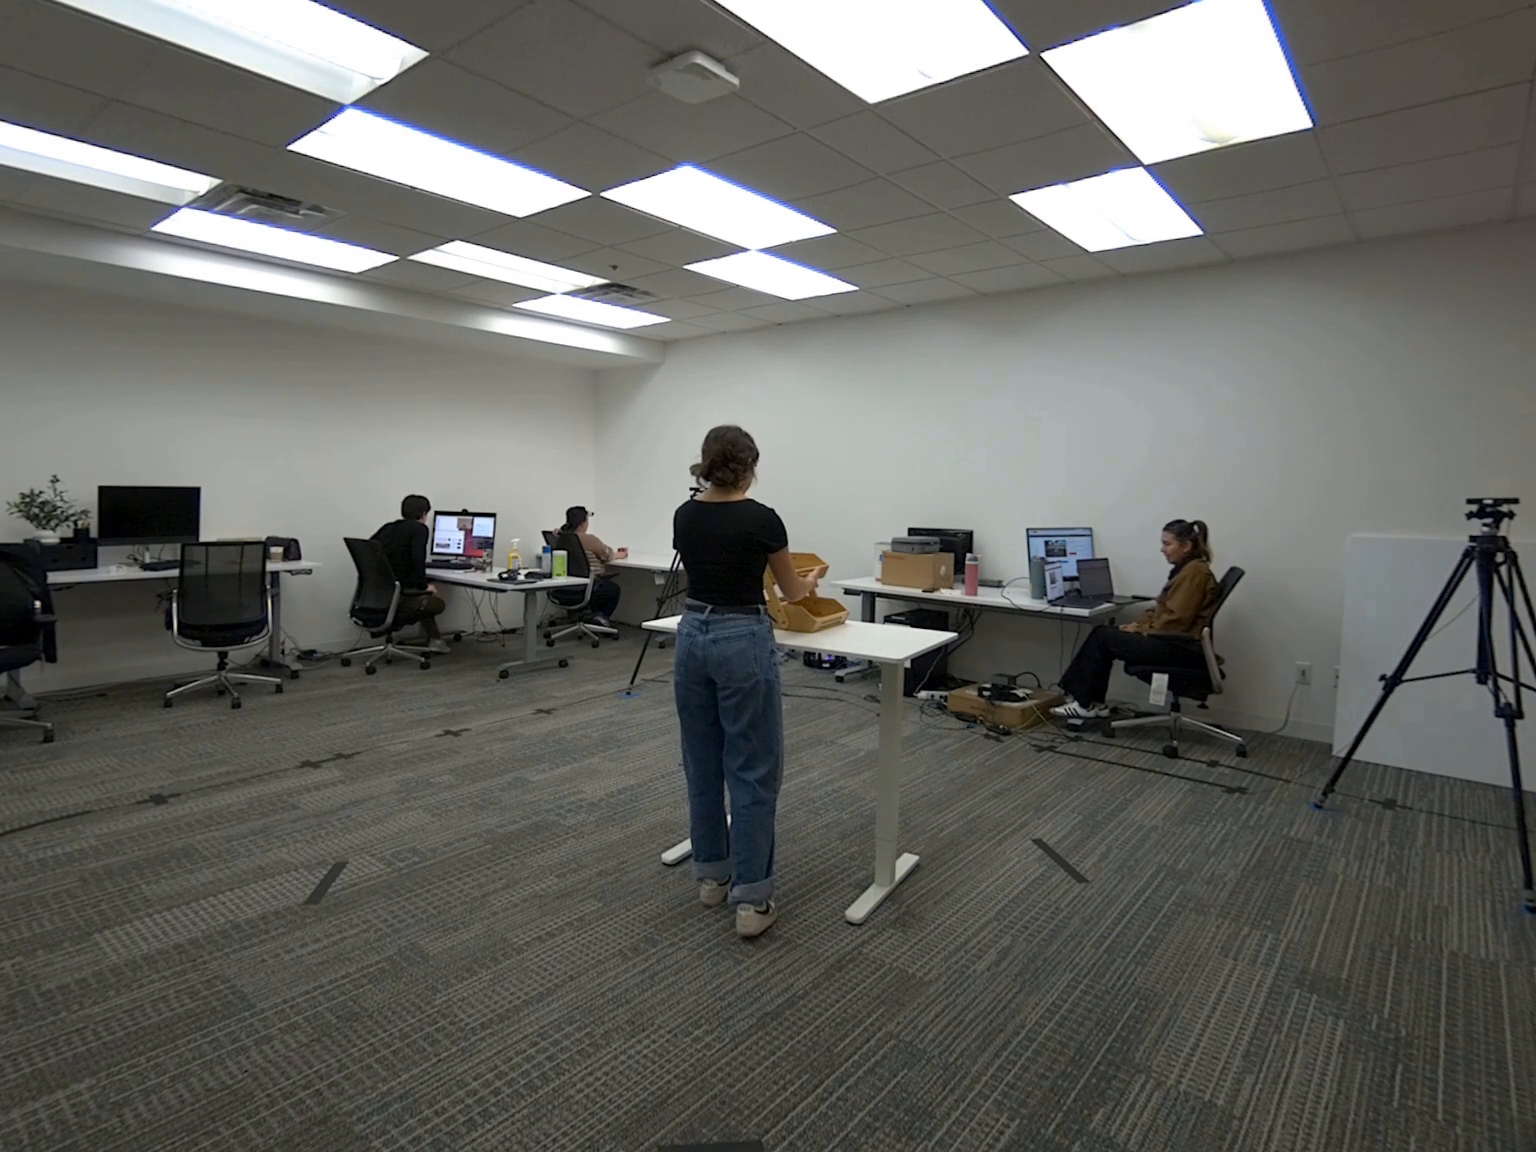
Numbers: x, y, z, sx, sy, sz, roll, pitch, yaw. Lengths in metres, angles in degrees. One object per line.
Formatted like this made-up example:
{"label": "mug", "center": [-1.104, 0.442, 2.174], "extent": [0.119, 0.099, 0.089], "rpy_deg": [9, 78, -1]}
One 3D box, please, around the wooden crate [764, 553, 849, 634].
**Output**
{"label": "wooden crate", "center": [0.106, 0.046, 3.210], "extent": [0.311, 0.272, 0.316], "rpy_deg": [3, 5, 30]}
